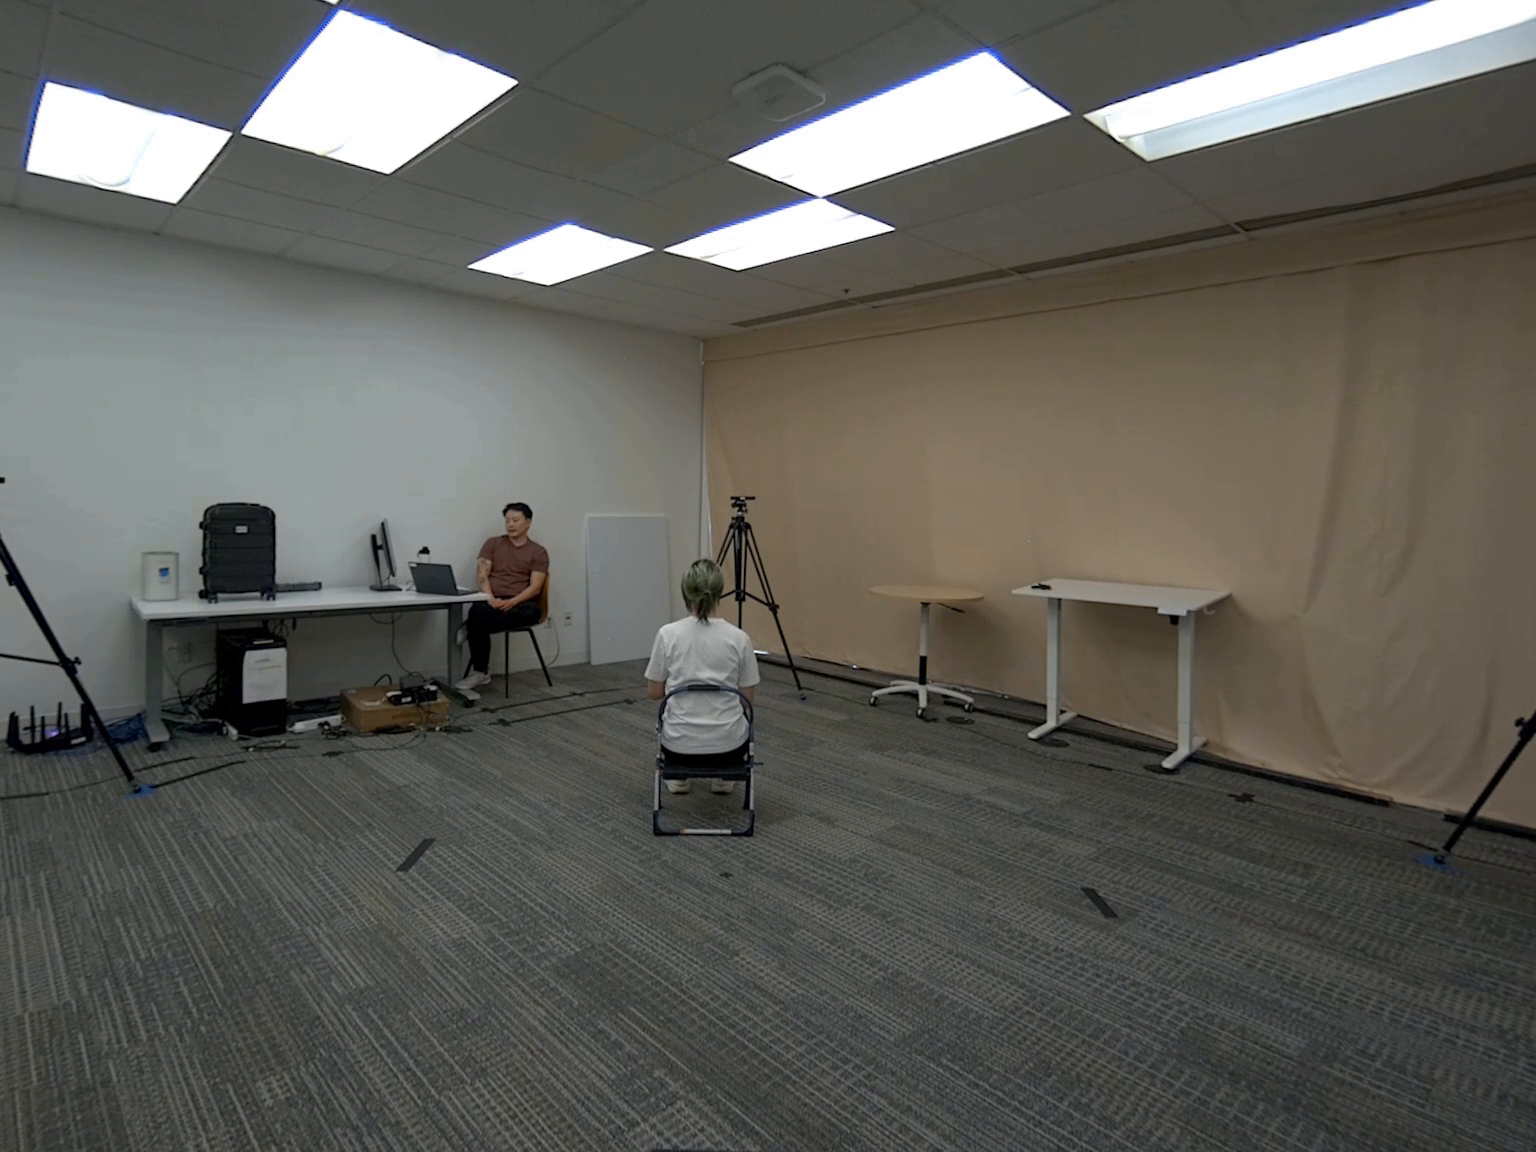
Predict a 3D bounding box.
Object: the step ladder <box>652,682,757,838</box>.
[{"bbox_3d":[-0.283,0.759,3.613,0.429,0.605,0.351,1,2,-5],"label":"step ladder"}]
